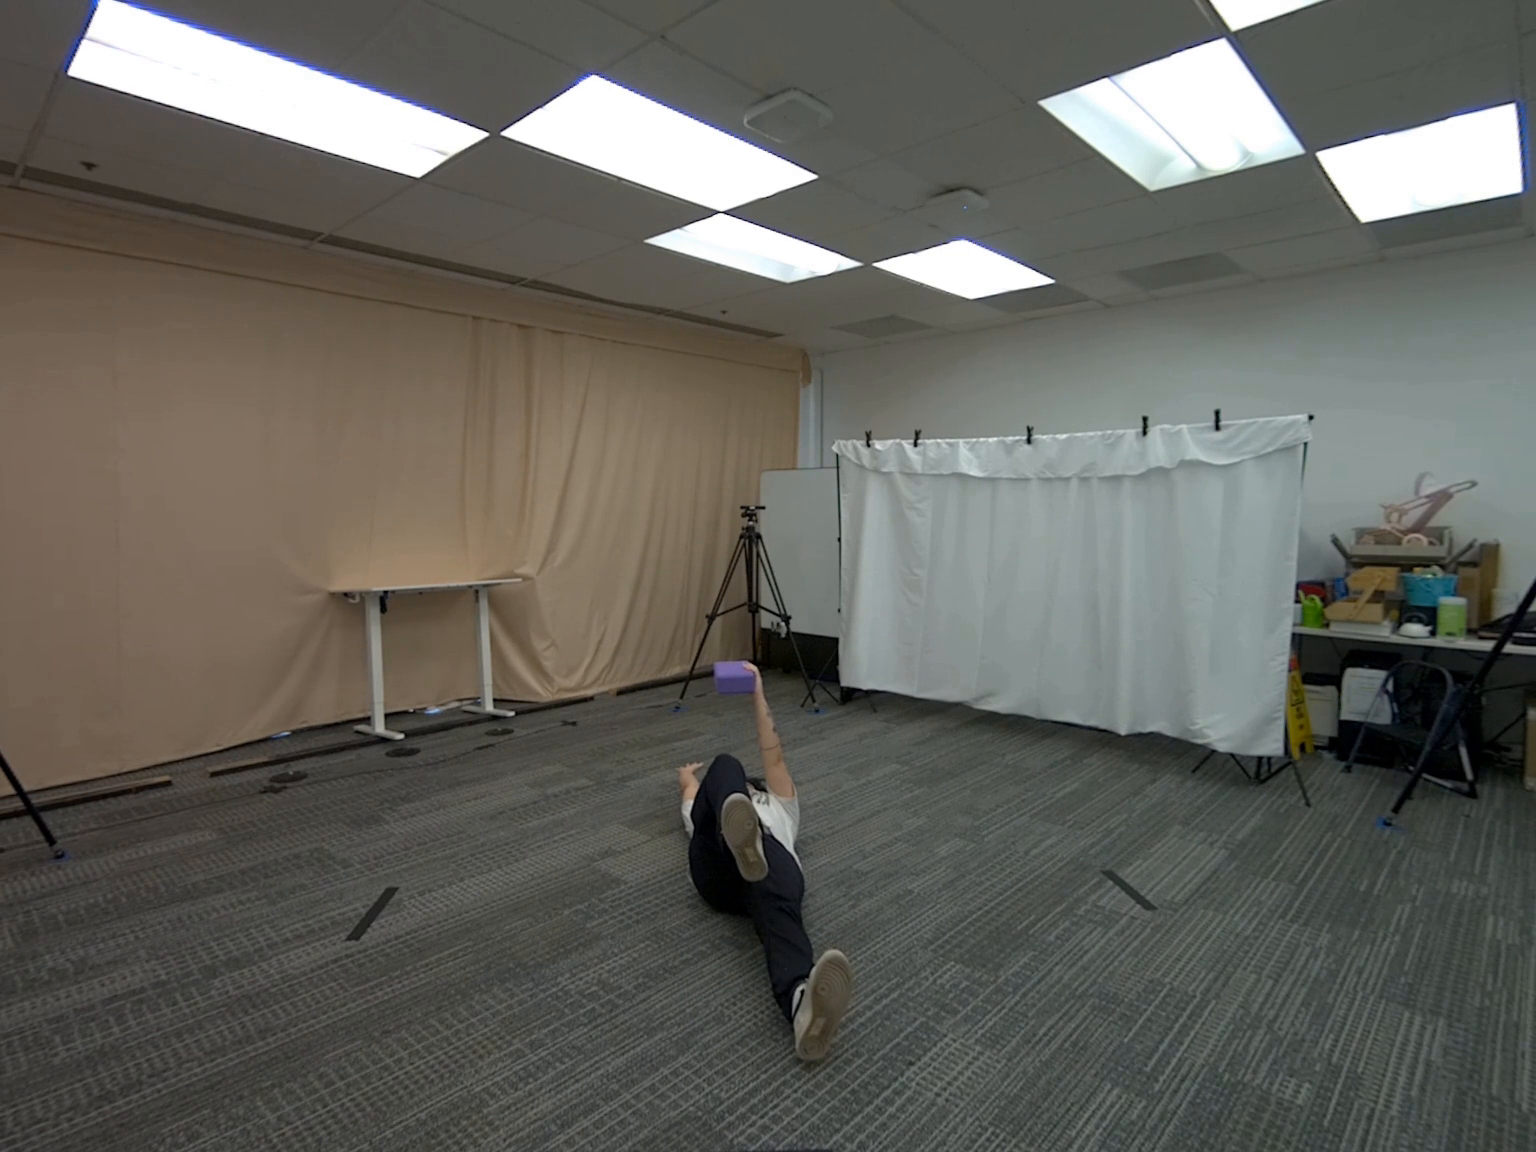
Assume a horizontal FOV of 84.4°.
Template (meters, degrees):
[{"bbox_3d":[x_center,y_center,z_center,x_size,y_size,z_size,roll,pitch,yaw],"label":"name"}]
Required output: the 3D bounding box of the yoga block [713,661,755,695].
[{"bbox_3d":[-0.132,0.406,3.412,0.149,0.076,0.231,-2,10,-3],"label":"yoga block"}]
